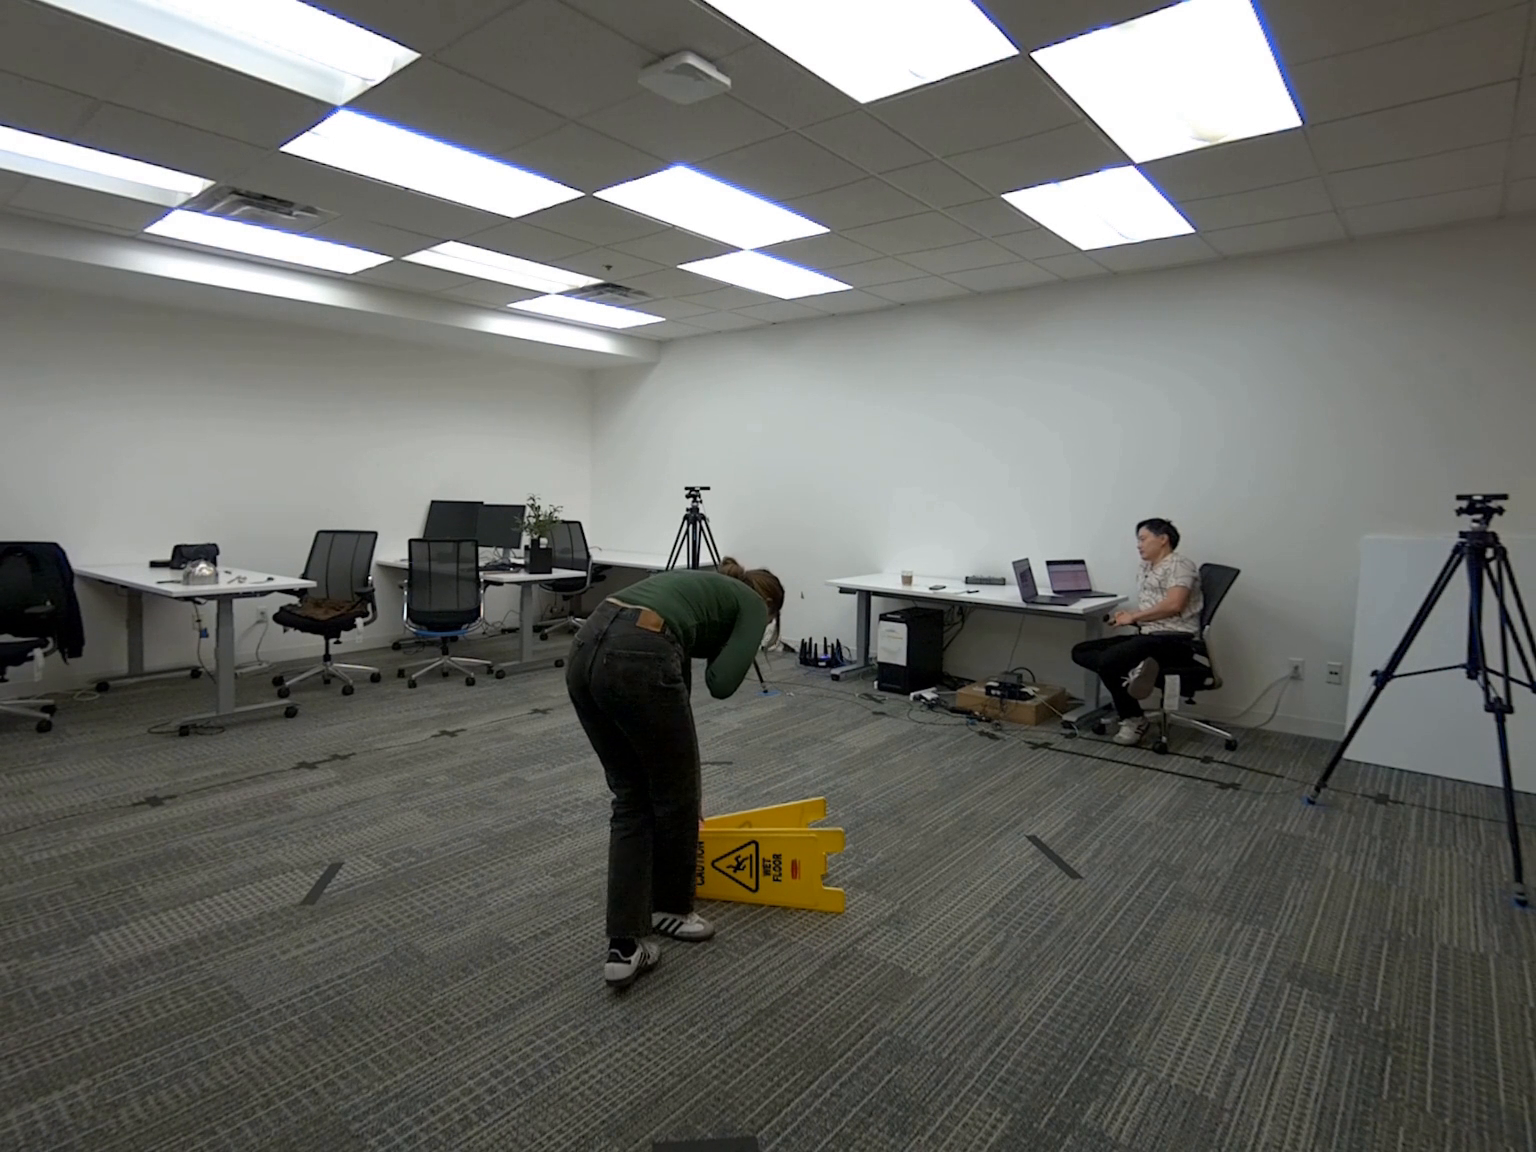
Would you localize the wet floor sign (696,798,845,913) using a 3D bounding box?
[{"bbox_3d":[-0.098,0.953,2.912,0.643,0.281,0.292,-2,5,-5],"label":"wet floor sign"}]
